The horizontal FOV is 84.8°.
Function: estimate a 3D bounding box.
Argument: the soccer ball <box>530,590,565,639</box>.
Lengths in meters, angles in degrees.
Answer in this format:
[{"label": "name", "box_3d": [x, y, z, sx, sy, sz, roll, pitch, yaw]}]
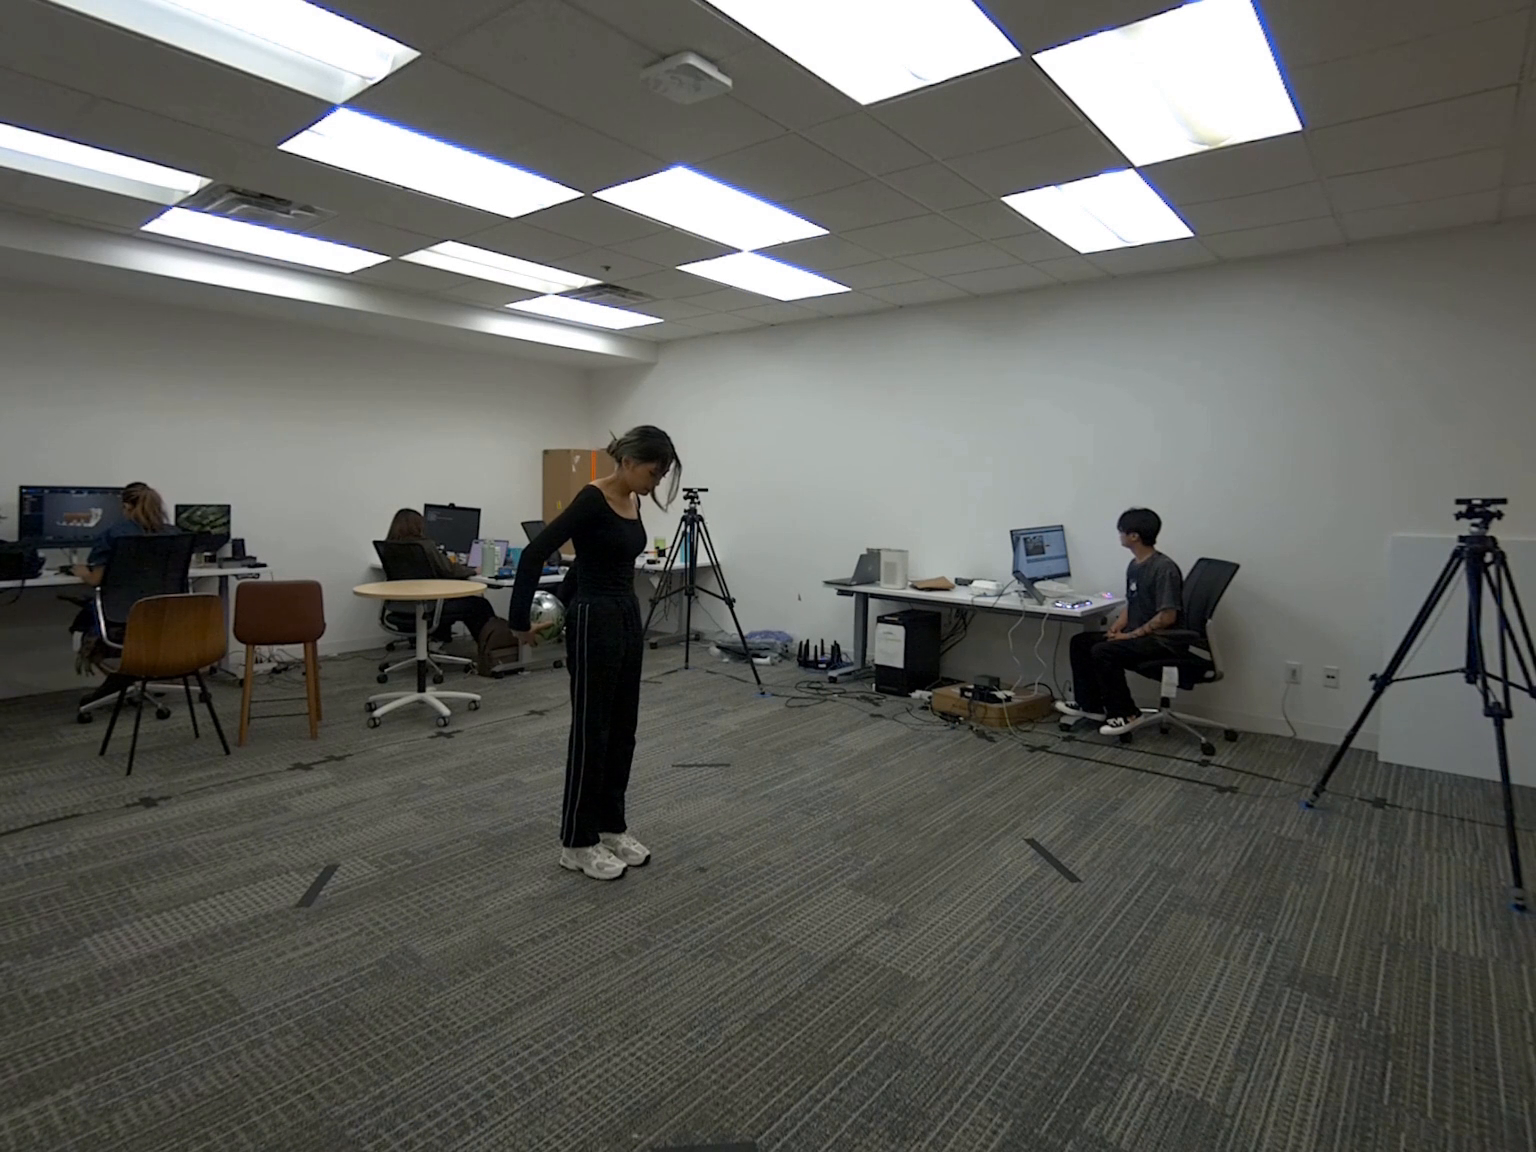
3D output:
[{"label": "soccer ball", "box_3d": [-0.816, 0.148, 2.993, 0.187, 0.187, 0.188, 1, 4, -2]}]
